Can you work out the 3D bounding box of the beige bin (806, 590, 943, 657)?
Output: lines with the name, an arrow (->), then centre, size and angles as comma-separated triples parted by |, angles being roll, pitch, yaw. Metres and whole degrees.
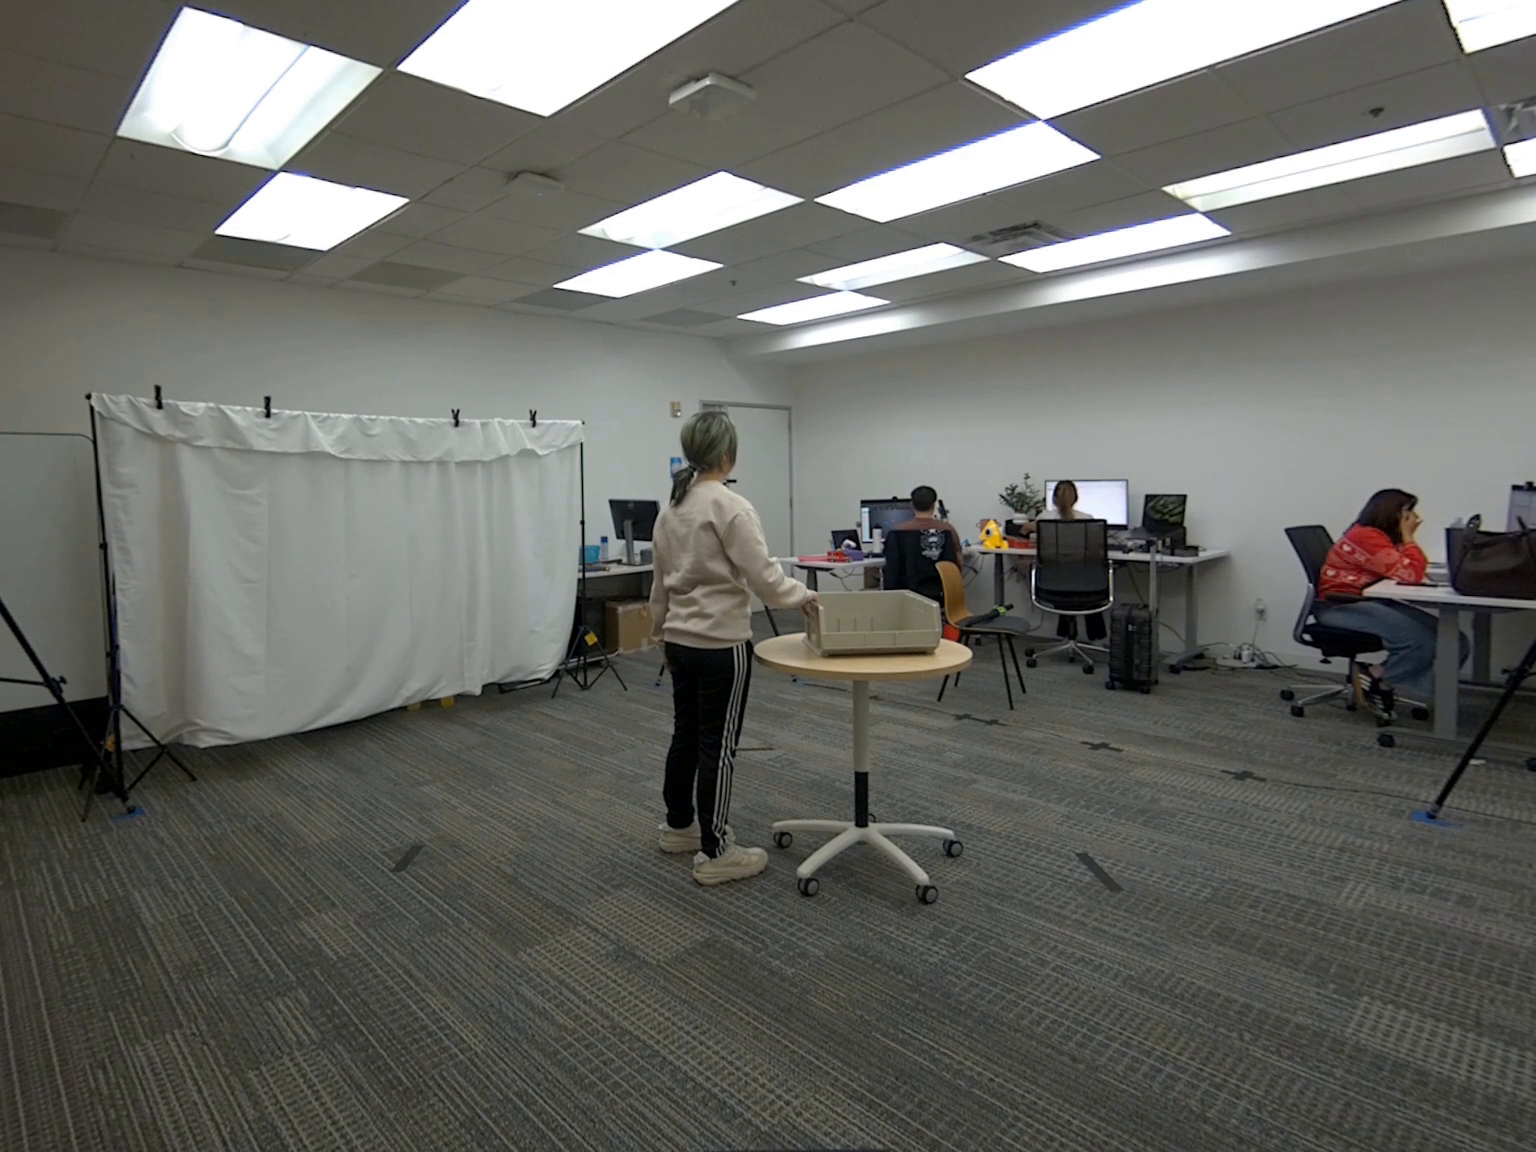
beige bin -> 0.355, 0.187, 3.061 | 0.420, 0.187, 0.382 | -2, 10, -5
